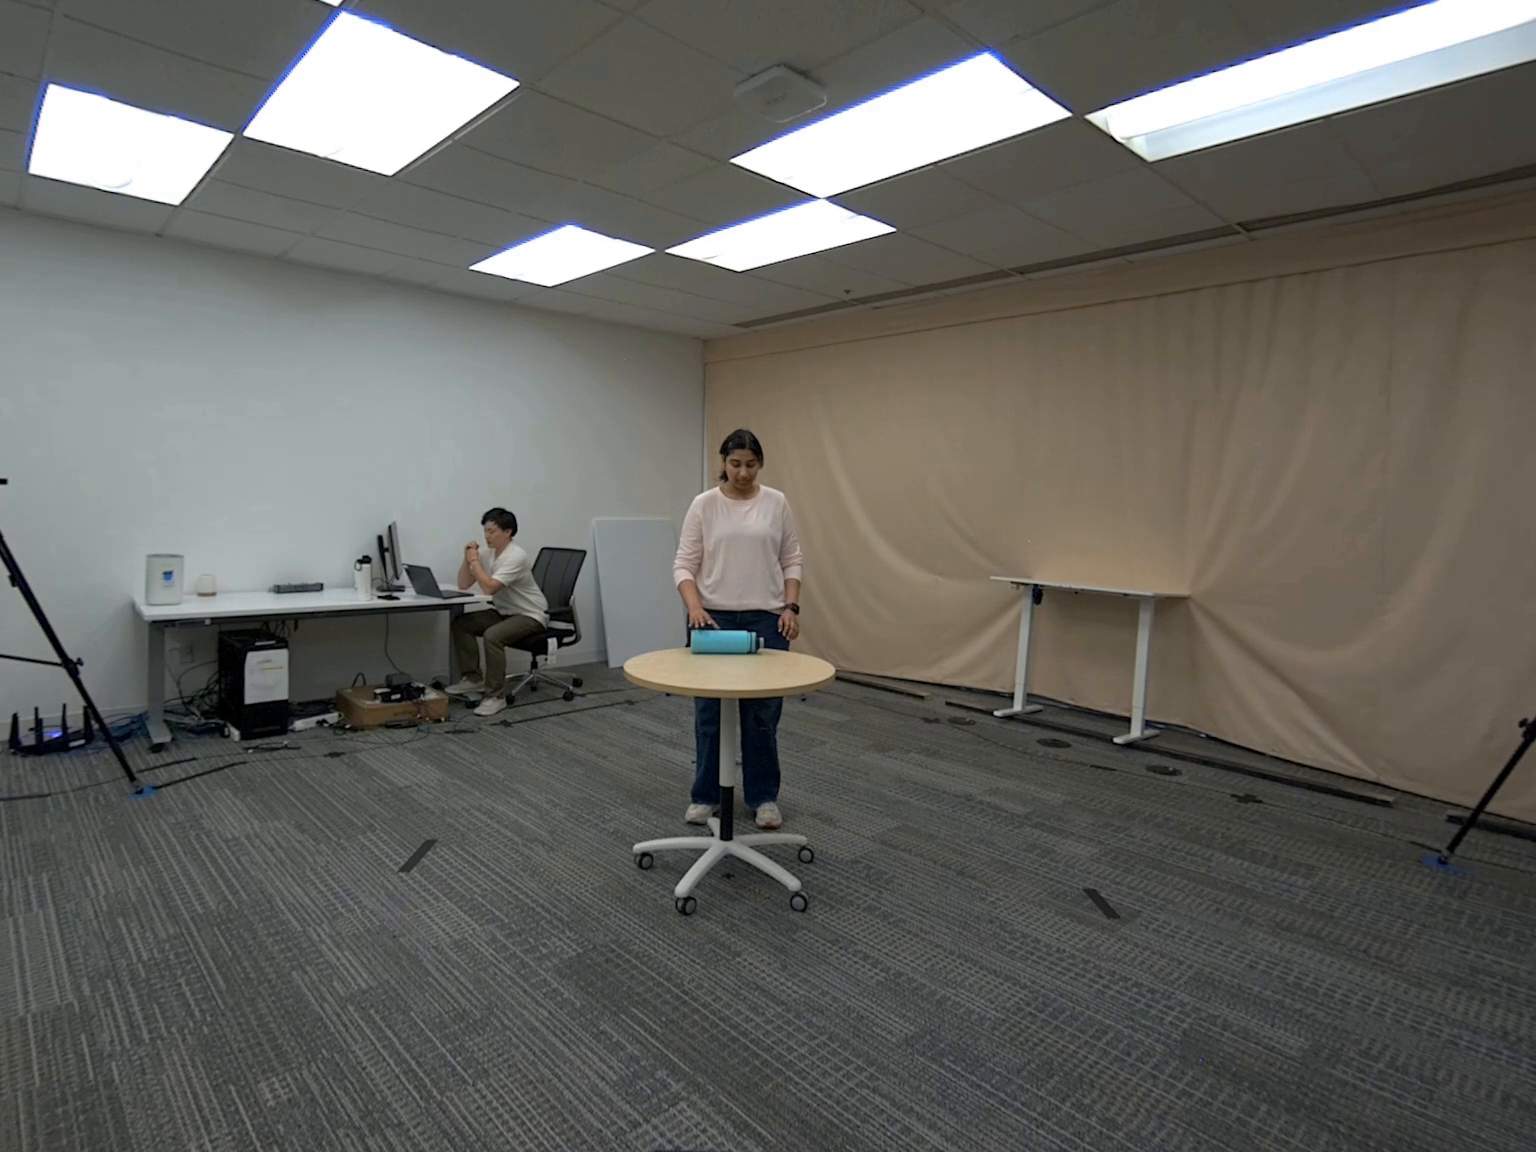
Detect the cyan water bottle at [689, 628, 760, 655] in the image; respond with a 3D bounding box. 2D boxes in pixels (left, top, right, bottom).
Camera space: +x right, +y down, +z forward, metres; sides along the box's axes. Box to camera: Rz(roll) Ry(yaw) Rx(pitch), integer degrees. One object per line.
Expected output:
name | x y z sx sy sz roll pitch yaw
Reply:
cyan water bottle | -0.167 0.257 3.289 0.282 0.092 0.093 0 4 -6
